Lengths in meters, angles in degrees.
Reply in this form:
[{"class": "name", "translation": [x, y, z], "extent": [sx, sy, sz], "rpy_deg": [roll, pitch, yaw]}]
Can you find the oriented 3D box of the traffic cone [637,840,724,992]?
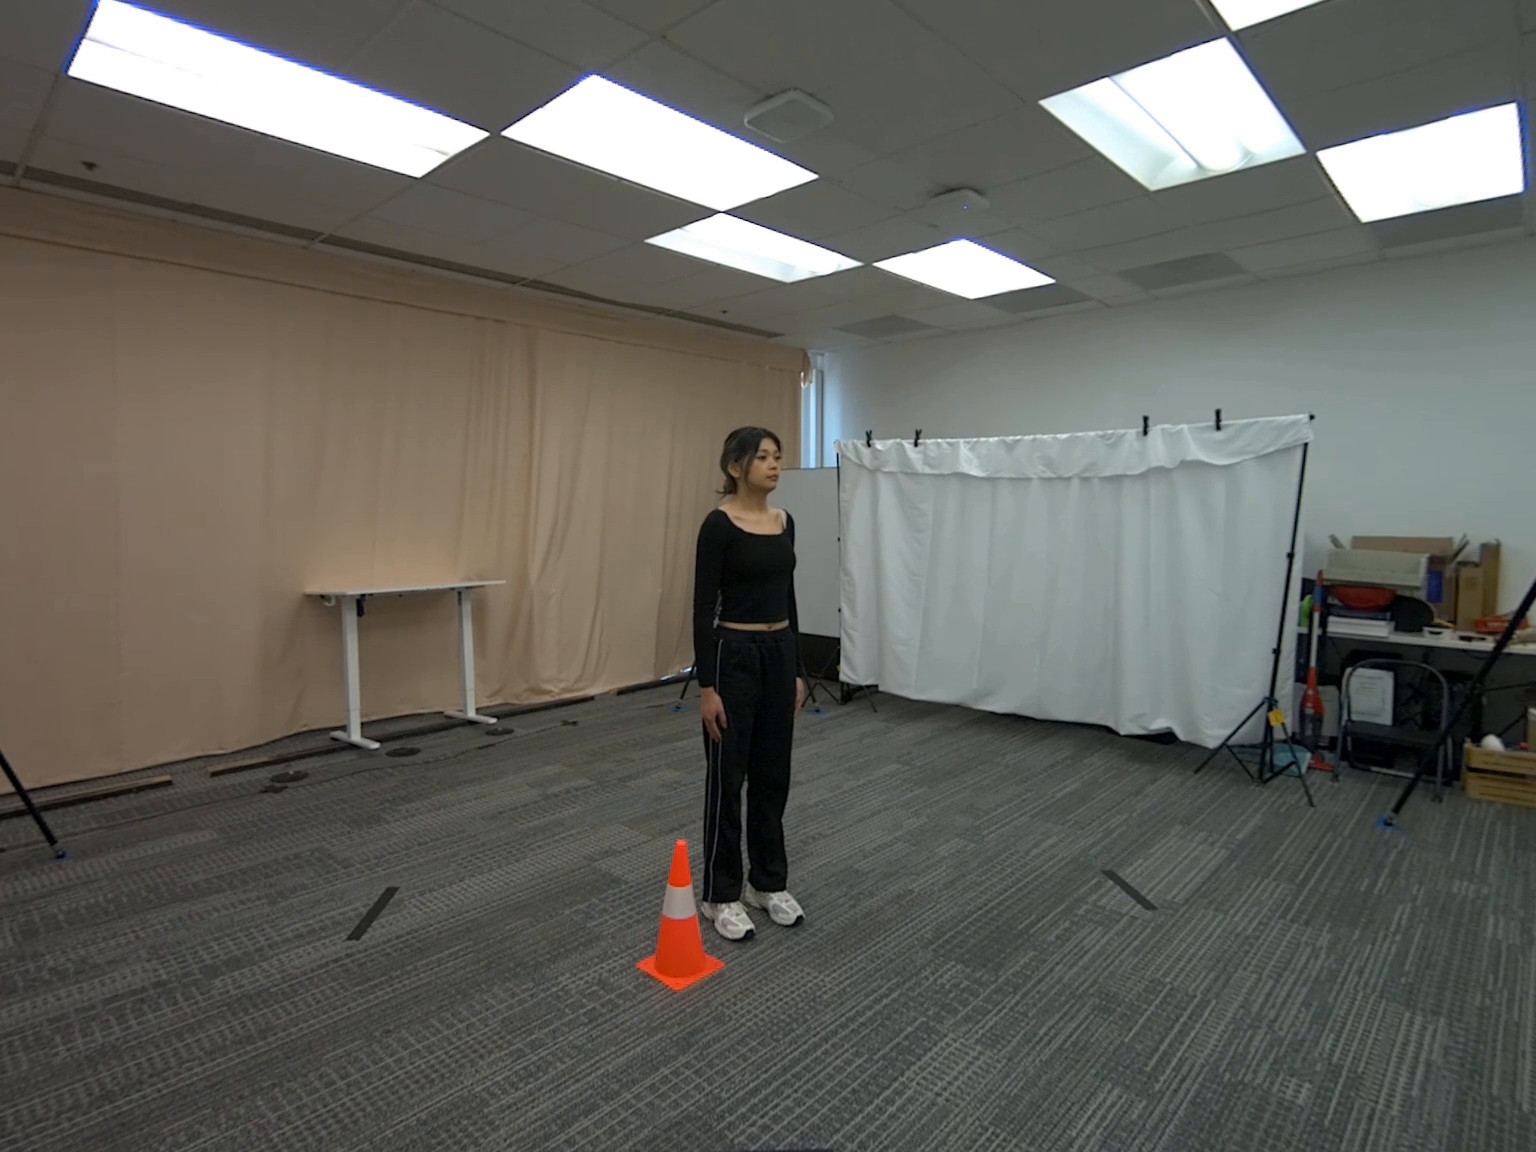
[{"class": "traffic cone", "translation": [-0.262, 0.994, 2.542], "extent": [0.198, 0.383, 0.211], "rpy_deg": [-3, 3, -32]}]
